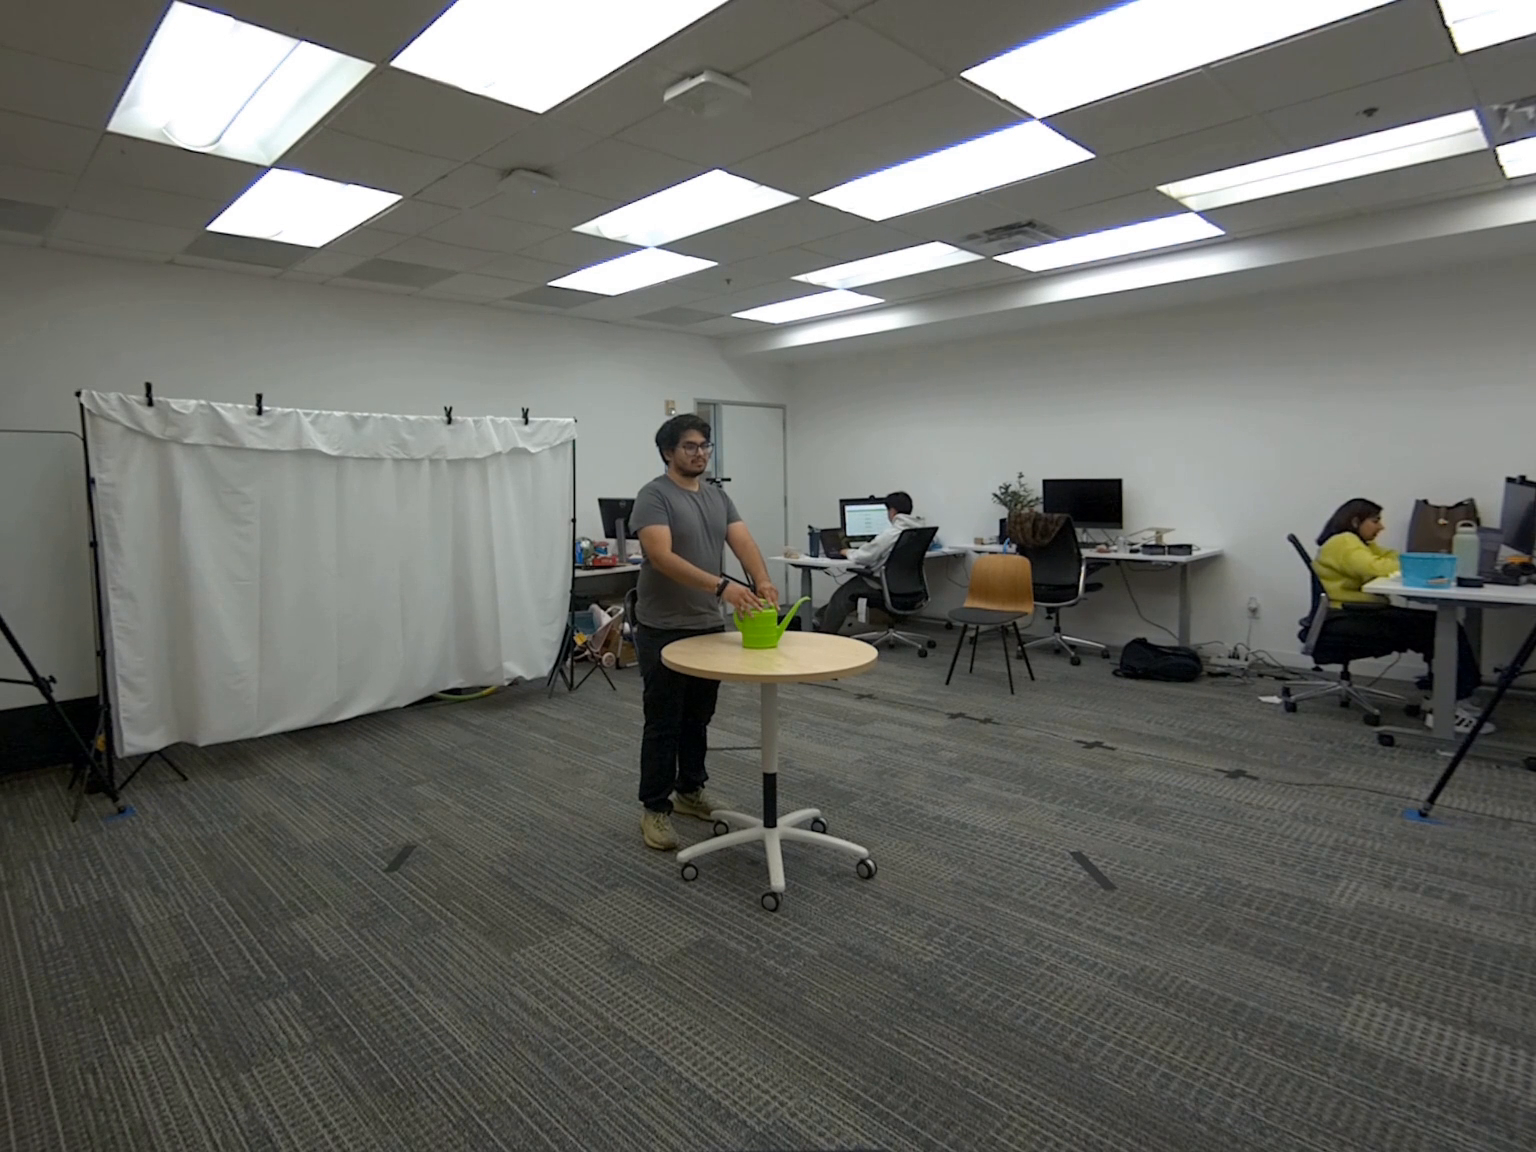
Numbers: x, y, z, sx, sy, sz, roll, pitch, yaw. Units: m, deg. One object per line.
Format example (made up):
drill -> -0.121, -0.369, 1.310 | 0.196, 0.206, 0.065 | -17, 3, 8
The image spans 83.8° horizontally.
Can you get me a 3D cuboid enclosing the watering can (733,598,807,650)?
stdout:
watering can -> 0.015, 0.172, 3.102 | 0.281, 0.176, 0.097 | -2, 3, 9
